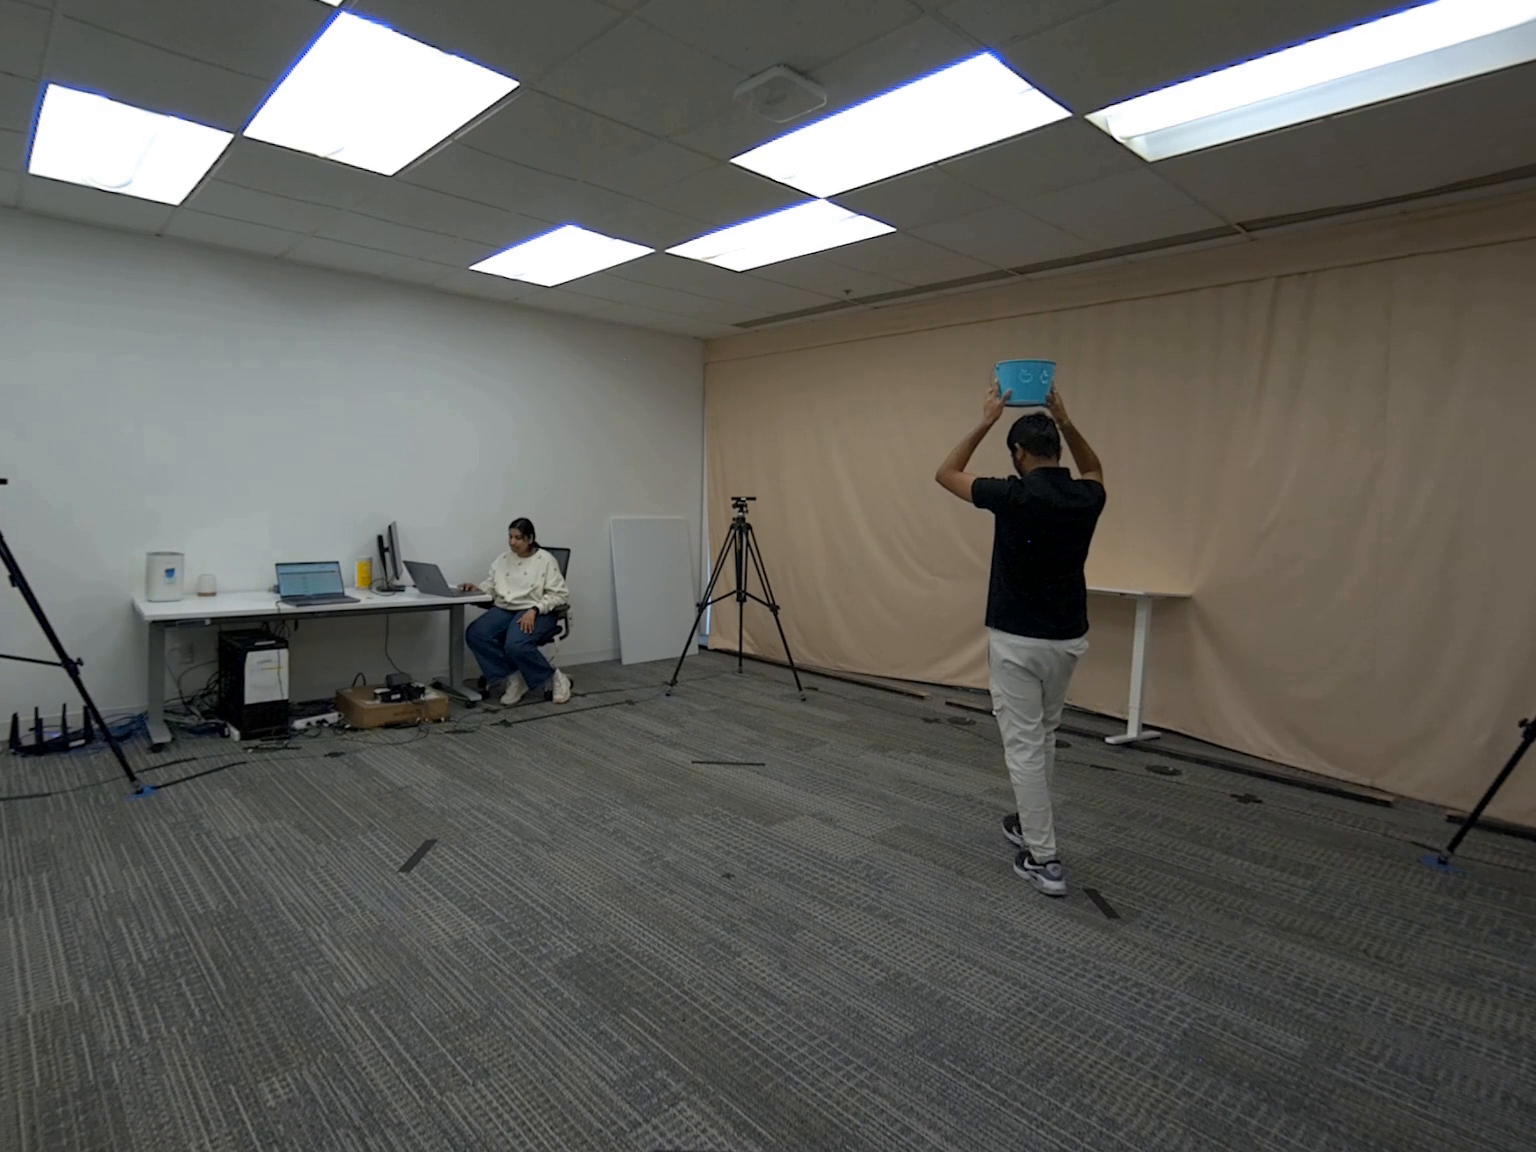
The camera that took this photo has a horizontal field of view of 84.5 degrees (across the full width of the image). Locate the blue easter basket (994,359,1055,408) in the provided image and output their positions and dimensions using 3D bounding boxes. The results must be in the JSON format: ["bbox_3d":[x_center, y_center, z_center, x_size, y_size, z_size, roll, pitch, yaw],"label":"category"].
[{"bbox_3d":[0.994,-0.738,3.247,0.243,0.156,0.244,4,2,-1],"label":"blue easter basket"}]
